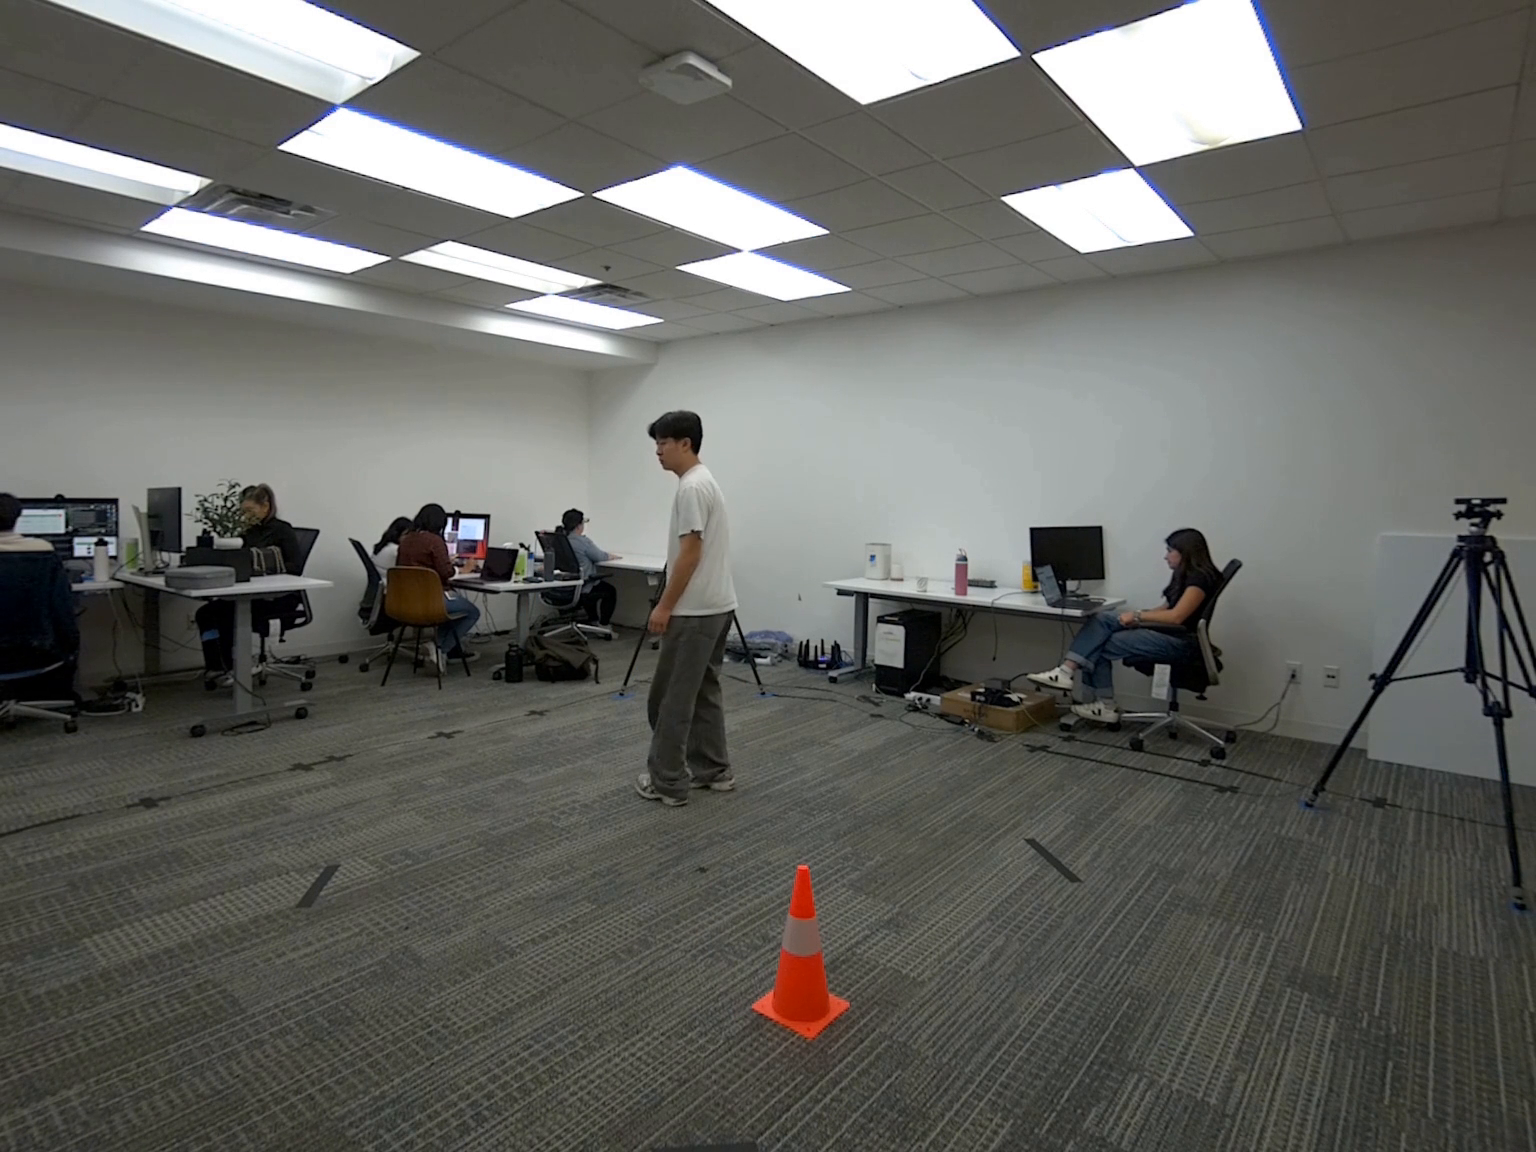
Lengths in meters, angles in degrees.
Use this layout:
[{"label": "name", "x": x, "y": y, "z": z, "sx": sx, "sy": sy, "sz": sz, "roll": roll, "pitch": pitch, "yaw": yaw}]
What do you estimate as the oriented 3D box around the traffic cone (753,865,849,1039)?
[{"label": "traffic cone", "x": 0.093, "y": 0.970, "z": 2.281, "sx": 0.212, "sy": 0.382, "sz": 0.198, "roll": 4, "pitch": 7, "yaw": 37}]
